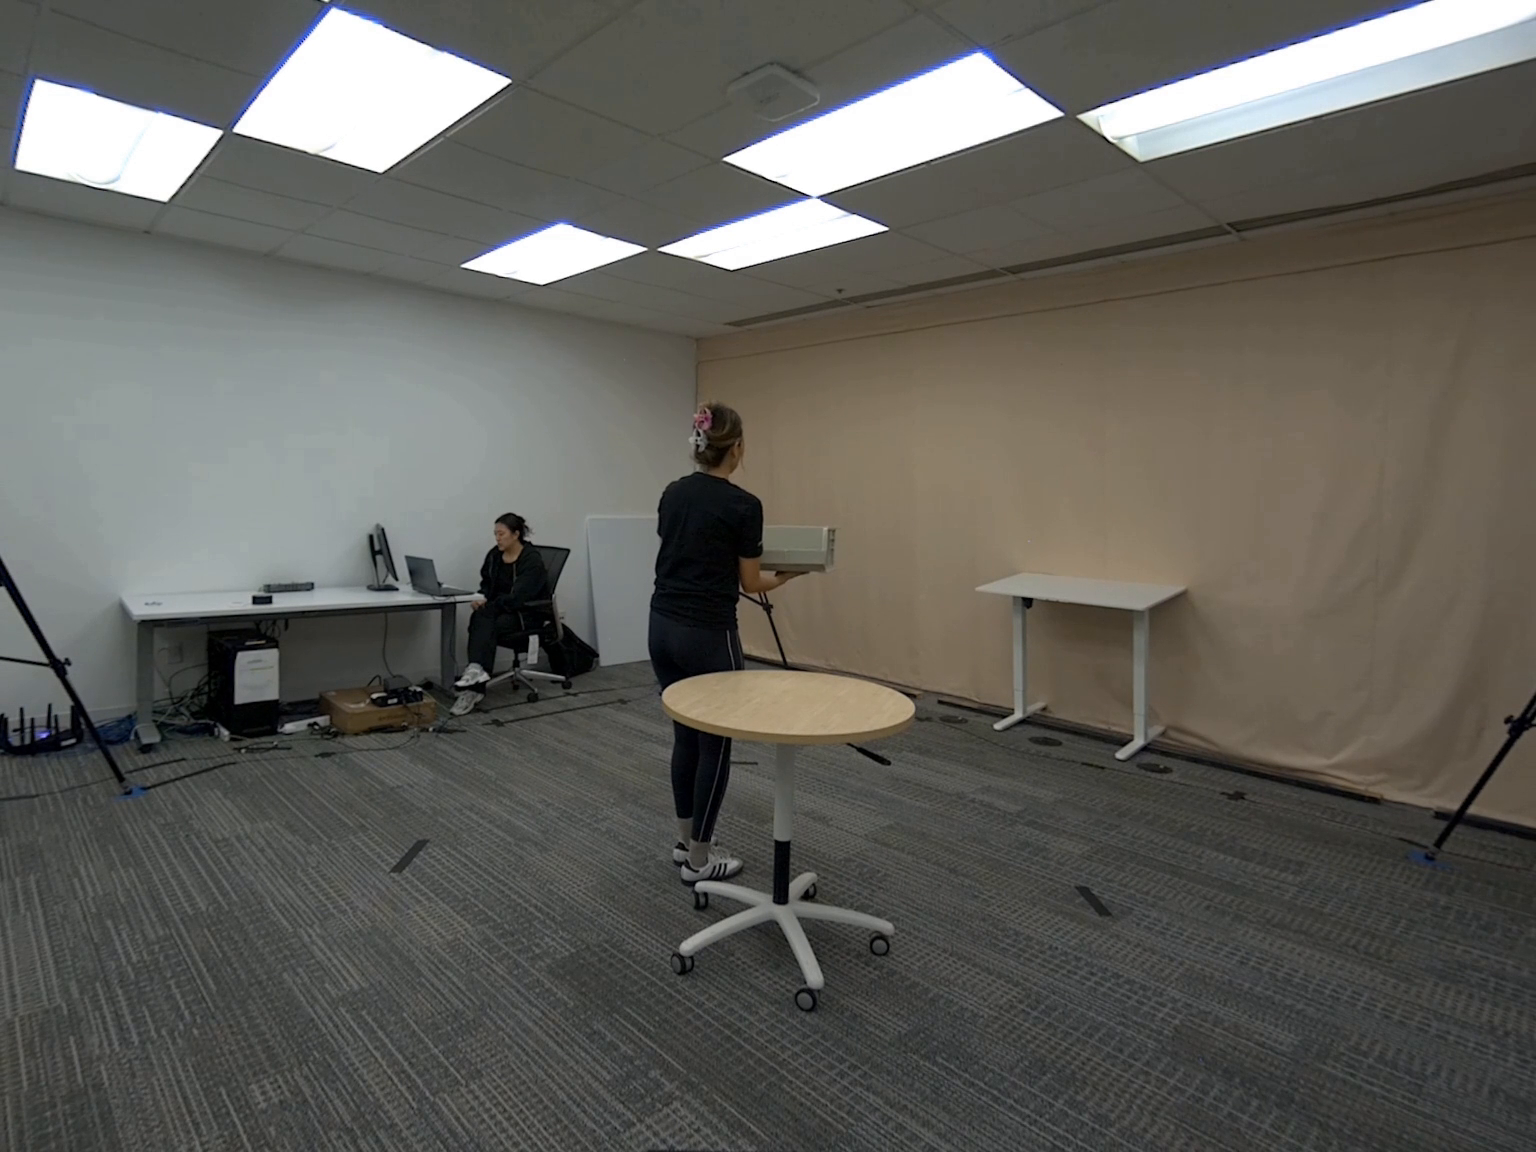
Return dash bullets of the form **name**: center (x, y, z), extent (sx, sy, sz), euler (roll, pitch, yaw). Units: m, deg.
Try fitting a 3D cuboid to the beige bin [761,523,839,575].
- **beige bin**: center (0.056, -0.112, 3.394), extent (0.426, 0.189, 0.374), euler (1, 2, 10)
